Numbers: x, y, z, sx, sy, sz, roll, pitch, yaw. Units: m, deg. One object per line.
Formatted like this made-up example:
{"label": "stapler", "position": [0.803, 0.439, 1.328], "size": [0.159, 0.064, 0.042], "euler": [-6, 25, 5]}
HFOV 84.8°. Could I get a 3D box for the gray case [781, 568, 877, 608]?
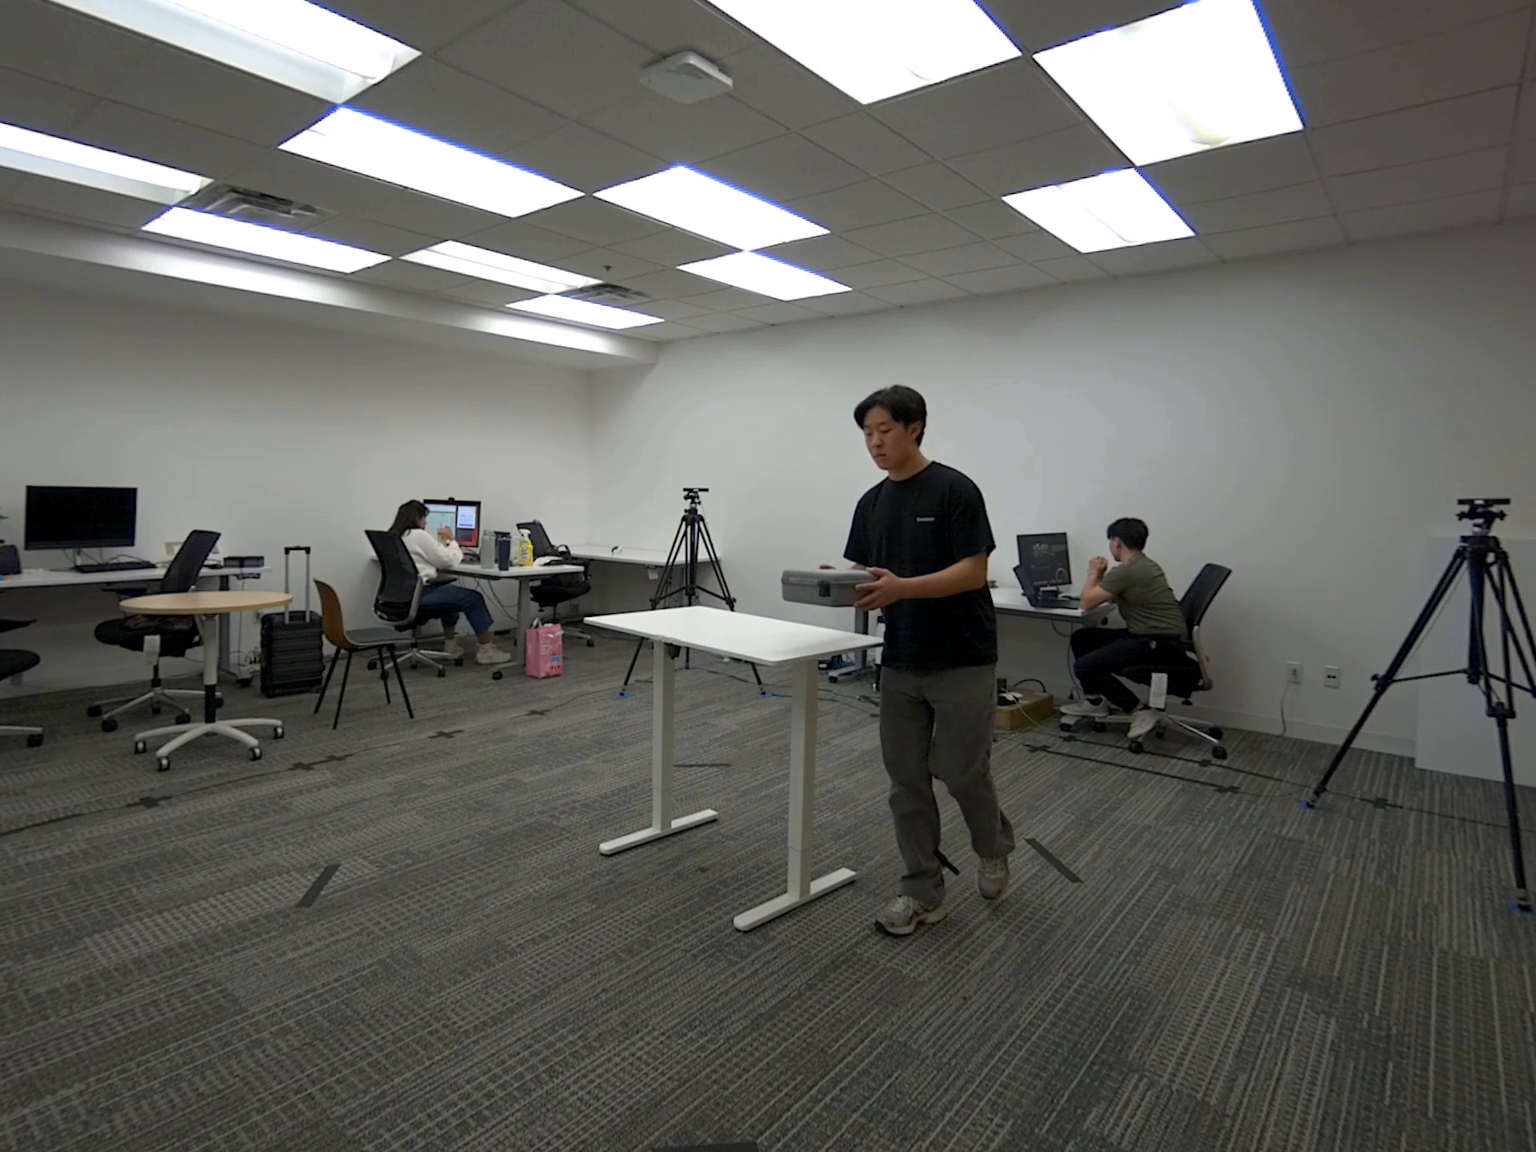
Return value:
{"label": "gray case", "position": [0.217, 0.034, 2.634], "size": [0.279, 0.103, 0.271], "euler": [-2, 4, -34]}
